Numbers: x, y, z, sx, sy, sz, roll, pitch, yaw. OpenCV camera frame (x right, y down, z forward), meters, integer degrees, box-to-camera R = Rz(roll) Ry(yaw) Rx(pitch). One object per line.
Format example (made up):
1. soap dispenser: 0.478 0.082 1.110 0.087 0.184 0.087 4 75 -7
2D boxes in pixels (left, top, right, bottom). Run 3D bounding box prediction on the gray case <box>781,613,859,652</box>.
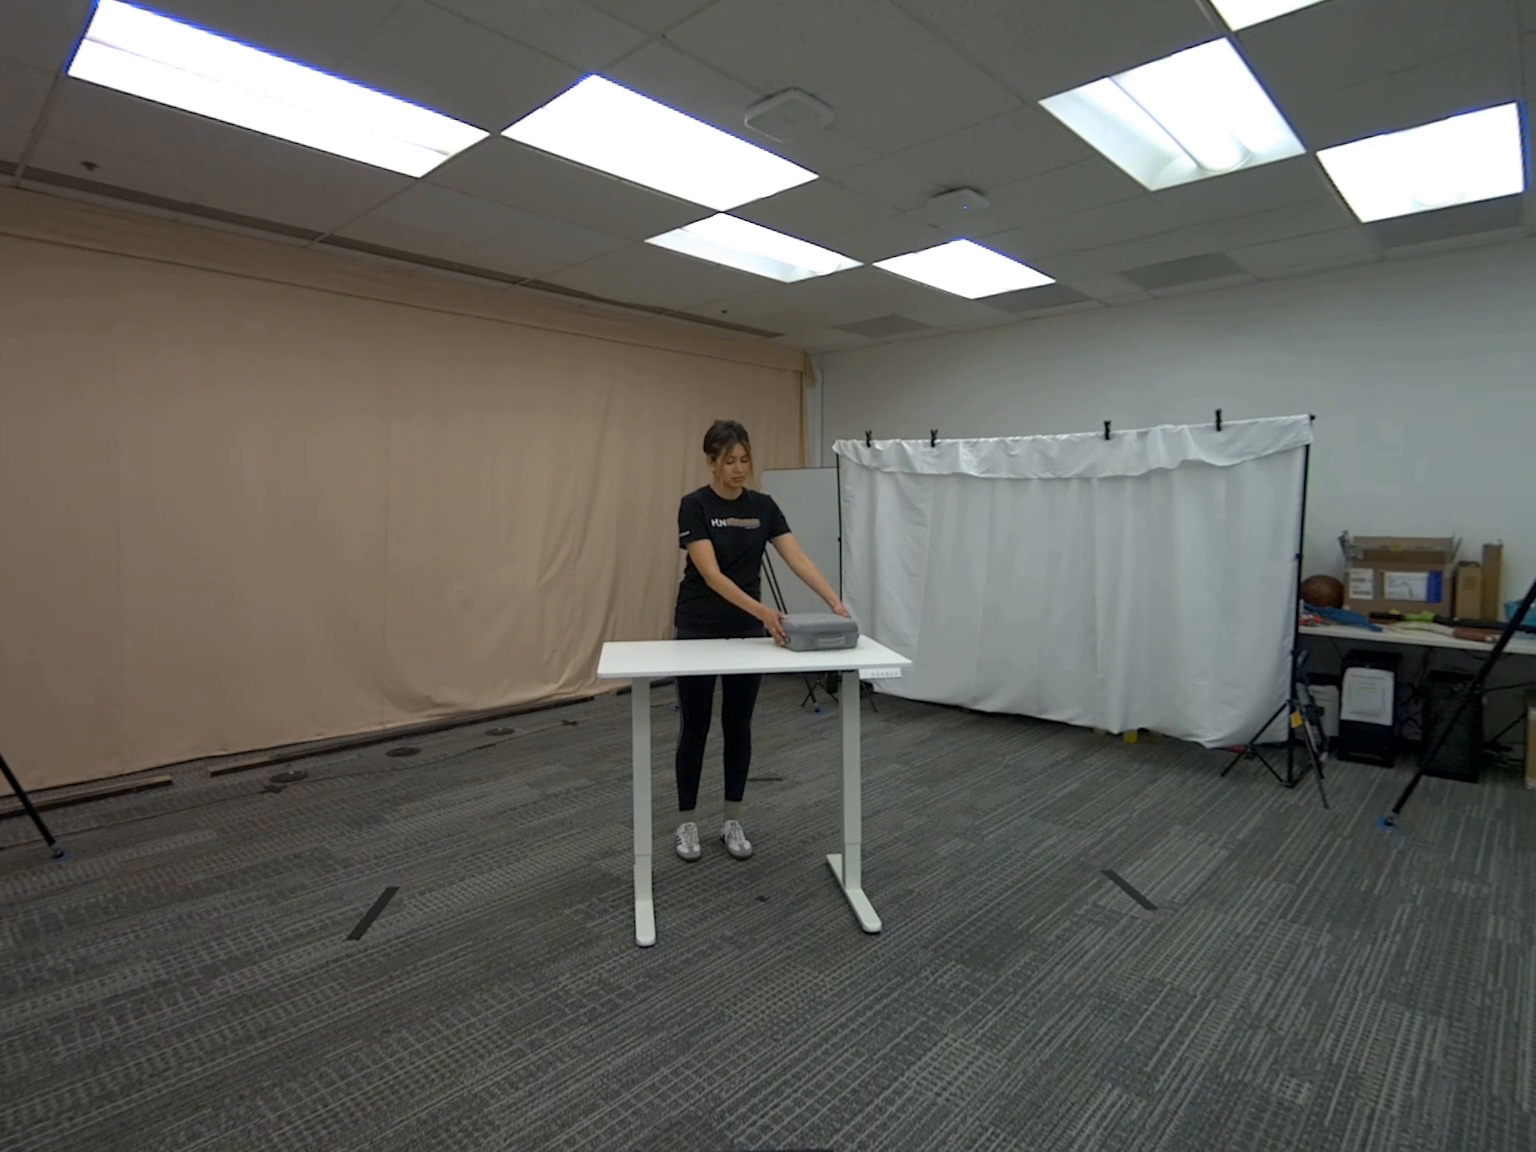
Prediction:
1. gray case: 0.180 0.201 3.045 0.253 0.104 0.265 -2 4 -16
